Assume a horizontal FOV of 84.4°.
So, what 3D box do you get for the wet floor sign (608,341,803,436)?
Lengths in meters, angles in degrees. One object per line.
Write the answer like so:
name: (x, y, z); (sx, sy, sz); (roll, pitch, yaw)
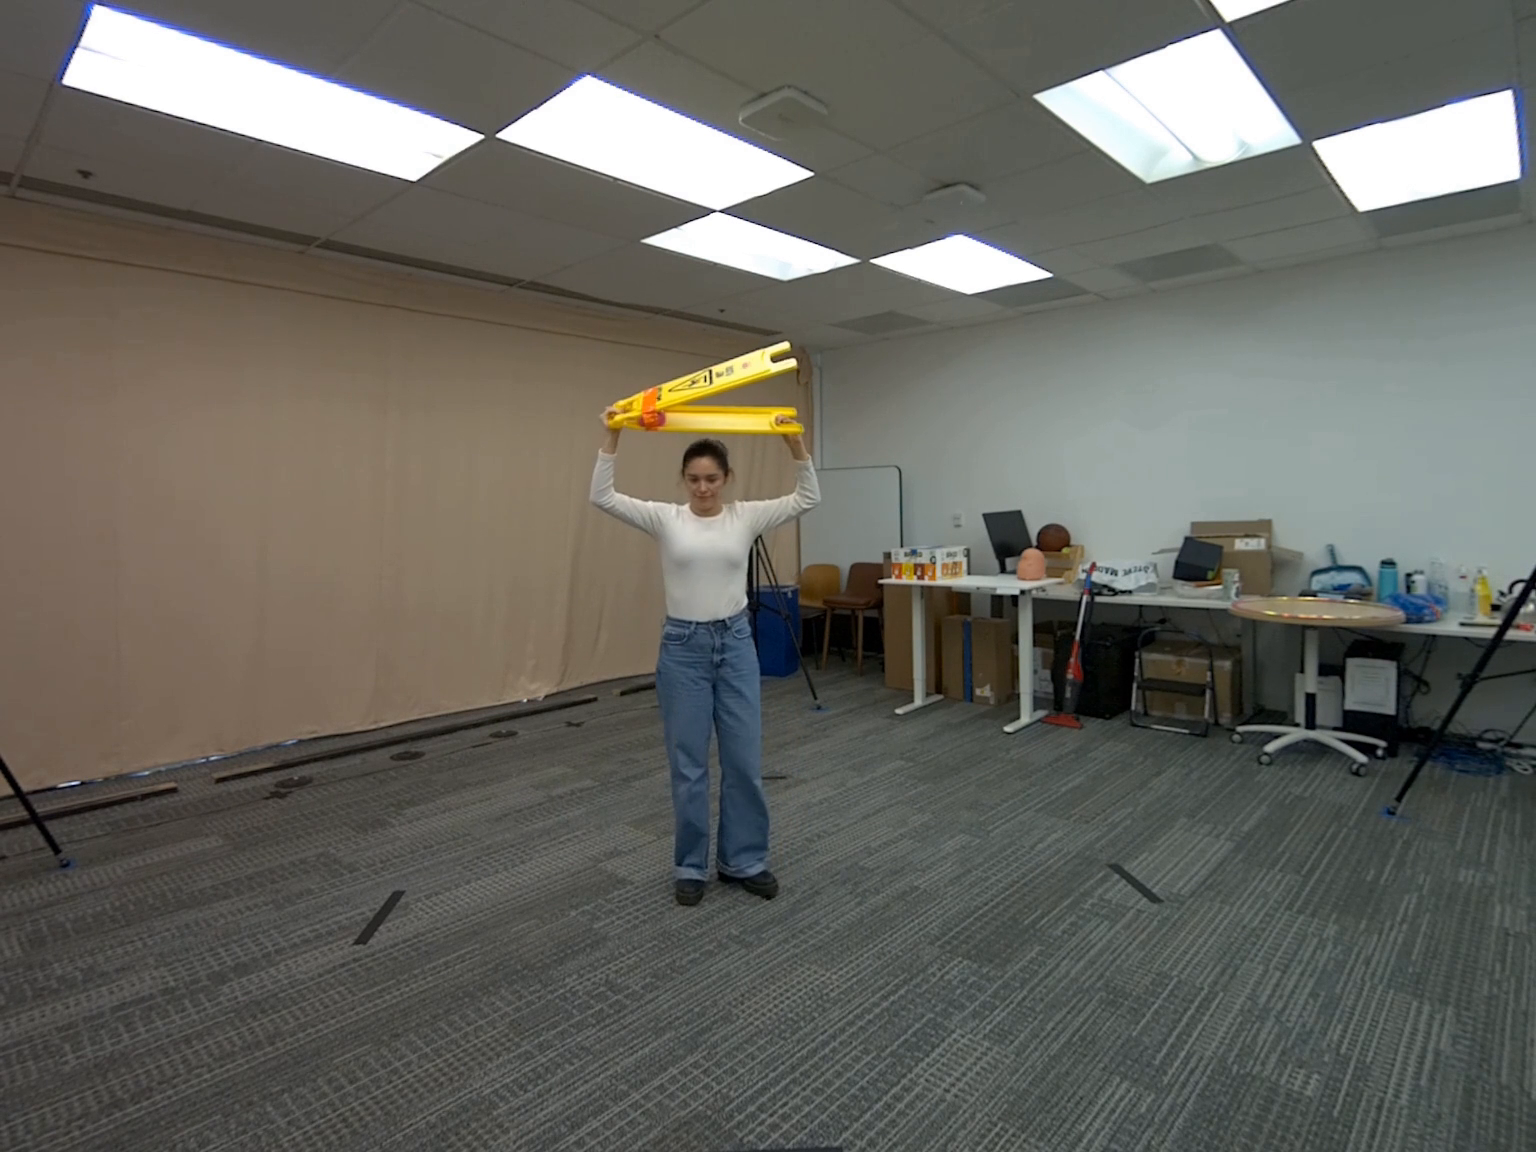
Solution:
wet floor sign: (-0.224, -0.599, 2.901); (0.647, 0.284, 0.287); (-6, 29, 1)
